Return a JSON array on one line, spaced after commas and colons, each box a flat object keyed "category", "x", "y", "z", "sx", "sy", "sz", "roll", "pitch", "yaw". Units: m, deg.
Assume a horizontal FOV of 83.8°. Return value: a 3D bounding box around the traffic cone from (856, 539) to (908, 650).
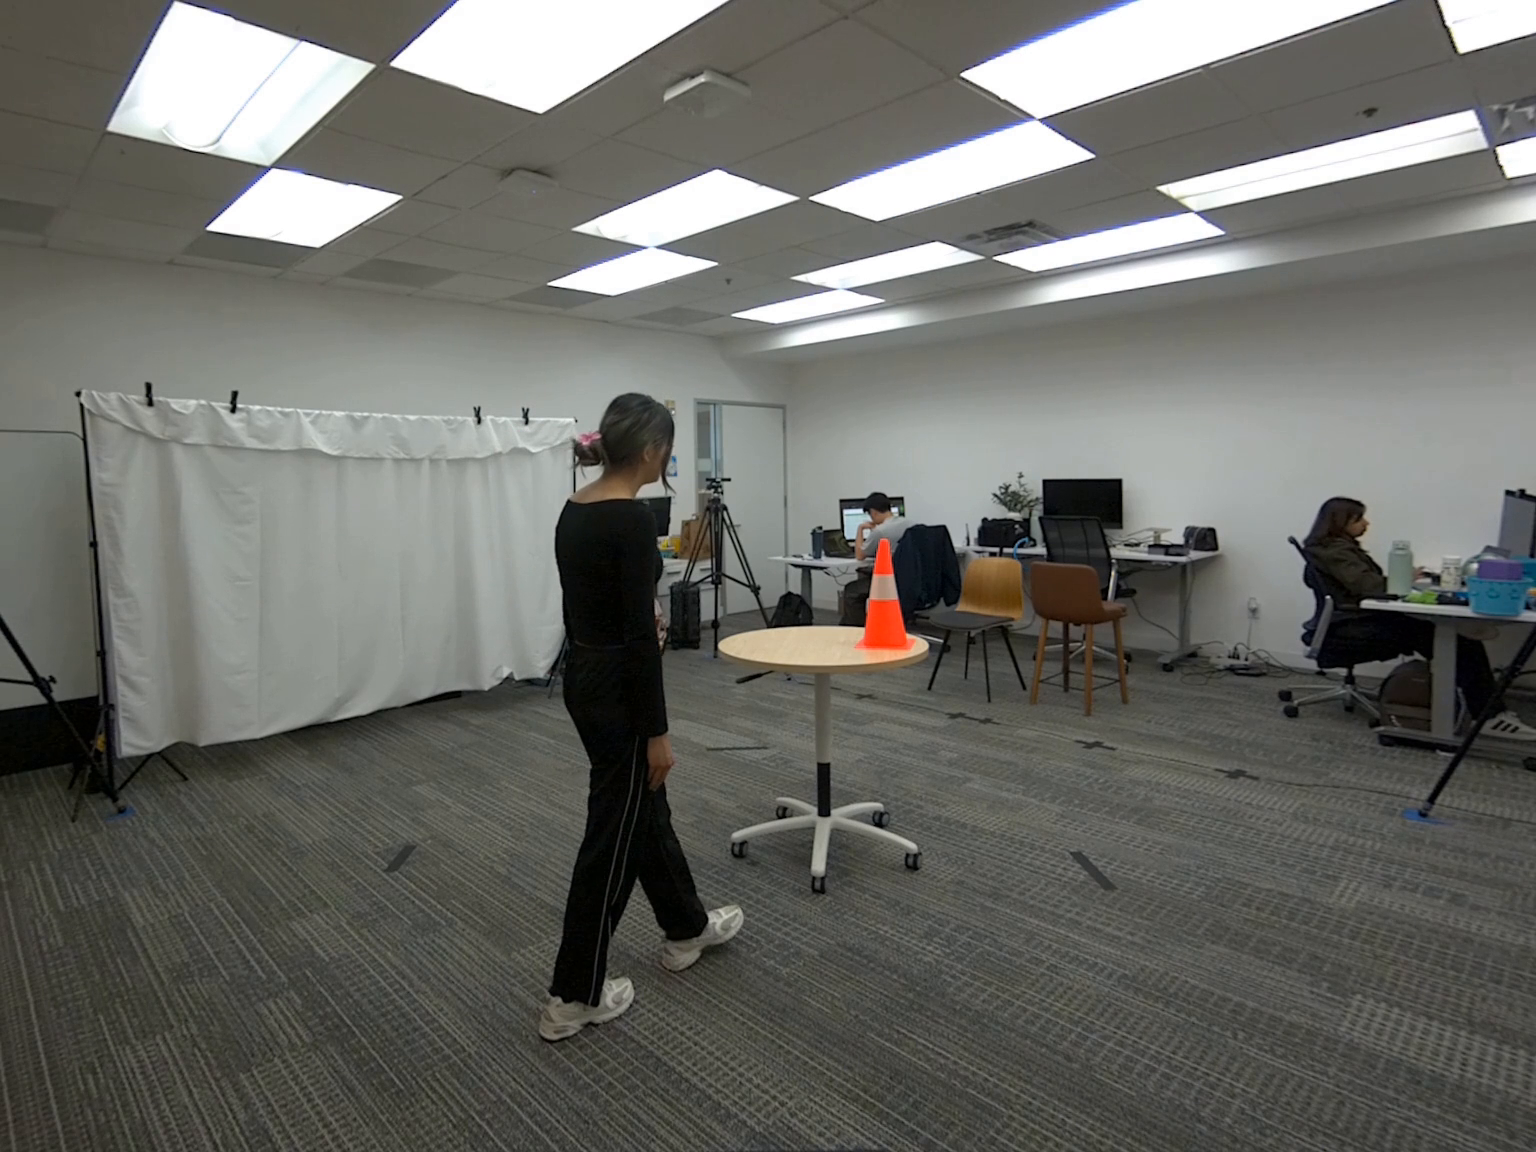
[{"category": "traffic cone", "x": 0.427, "y": 0.061, "z": 3.092, "sx": 0.207, "sy": 0.382, "sz": 0.203, "roll": 1, "pitch": 6, "yaw": 7}]
